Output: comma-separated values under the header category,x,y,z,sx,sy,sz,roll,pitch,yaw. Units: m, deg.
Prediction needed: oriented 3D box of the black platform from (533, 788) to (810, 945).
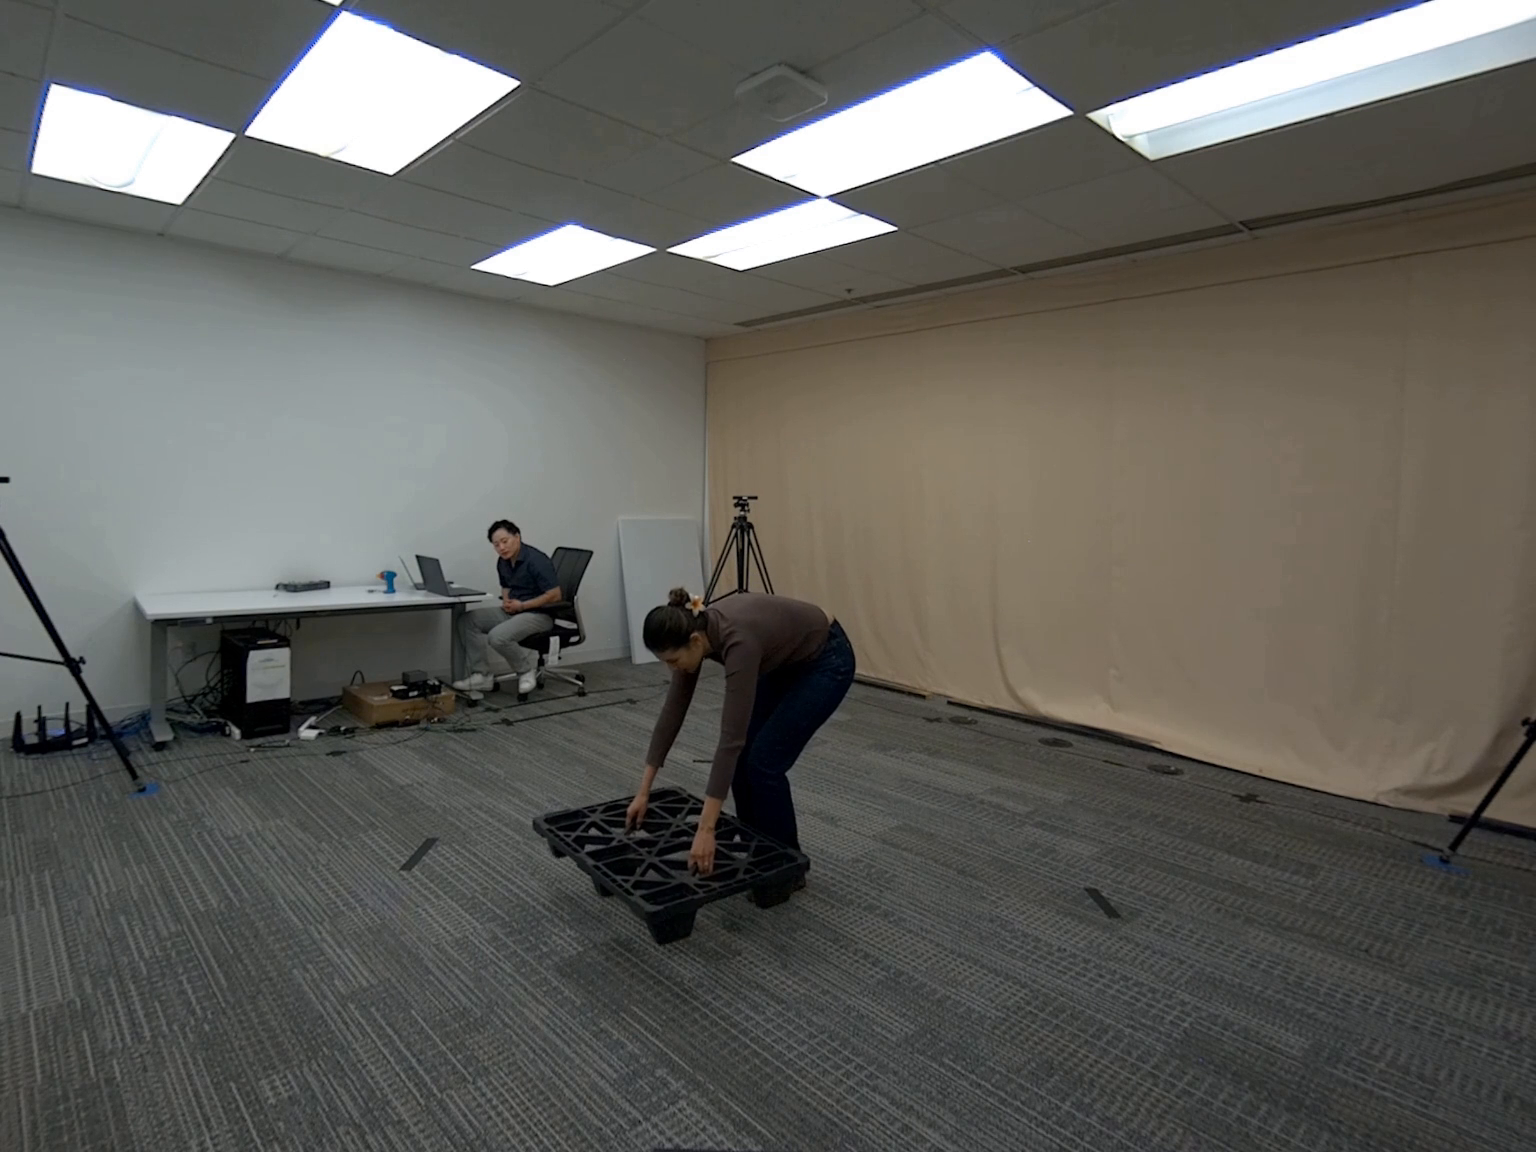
category,x,y,z,sx,sy,sz,roll,pitch,yaw
black platform,-0.348,0.931,2.782,0.592,0.143,0.826,-2,7,-37
